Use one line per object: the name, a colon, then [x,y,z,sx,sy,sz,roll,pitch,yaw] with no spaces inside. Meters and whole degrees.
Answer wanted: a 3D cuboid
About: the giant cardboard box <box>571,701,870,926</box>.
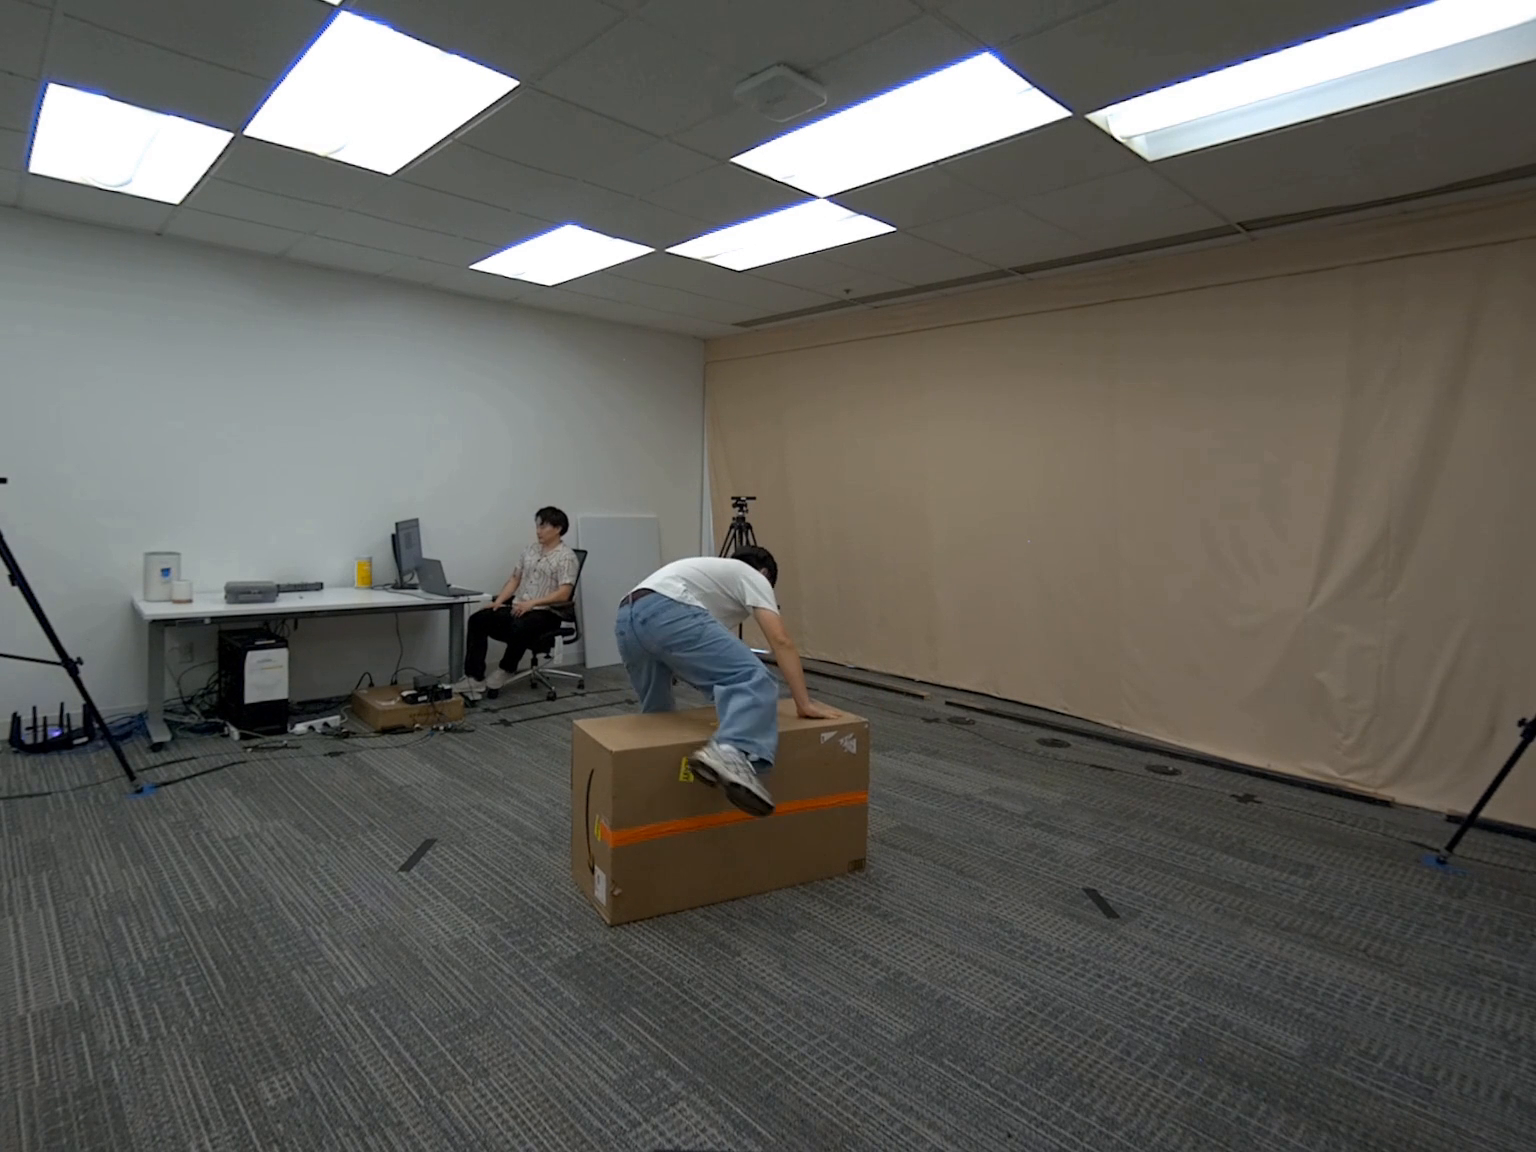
giant cardboard box: [-0.173,0.819,3.110,1.006,0.576,0.435,-1,3,-28]
